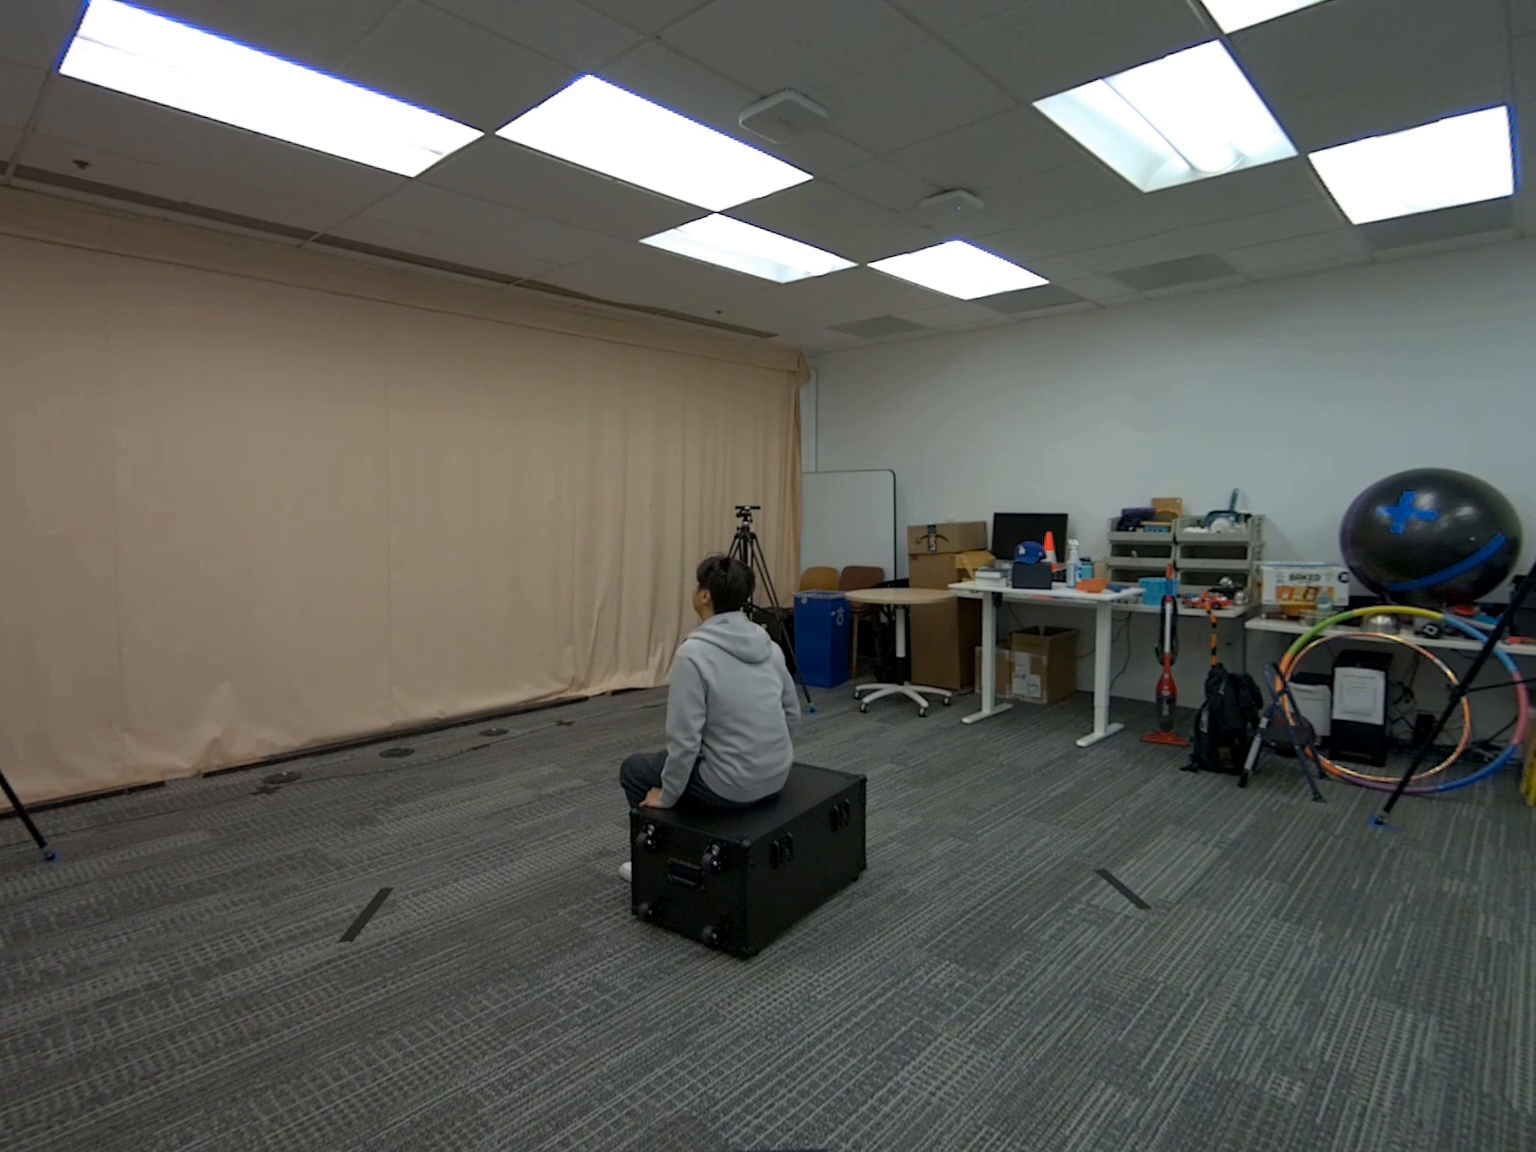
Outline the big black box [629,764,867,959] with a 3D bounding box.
[{"bbox_3d":[-0.019,0.956,3.009,0.537,0.395,0.837,2,6,35],"label":"big black box"}]
